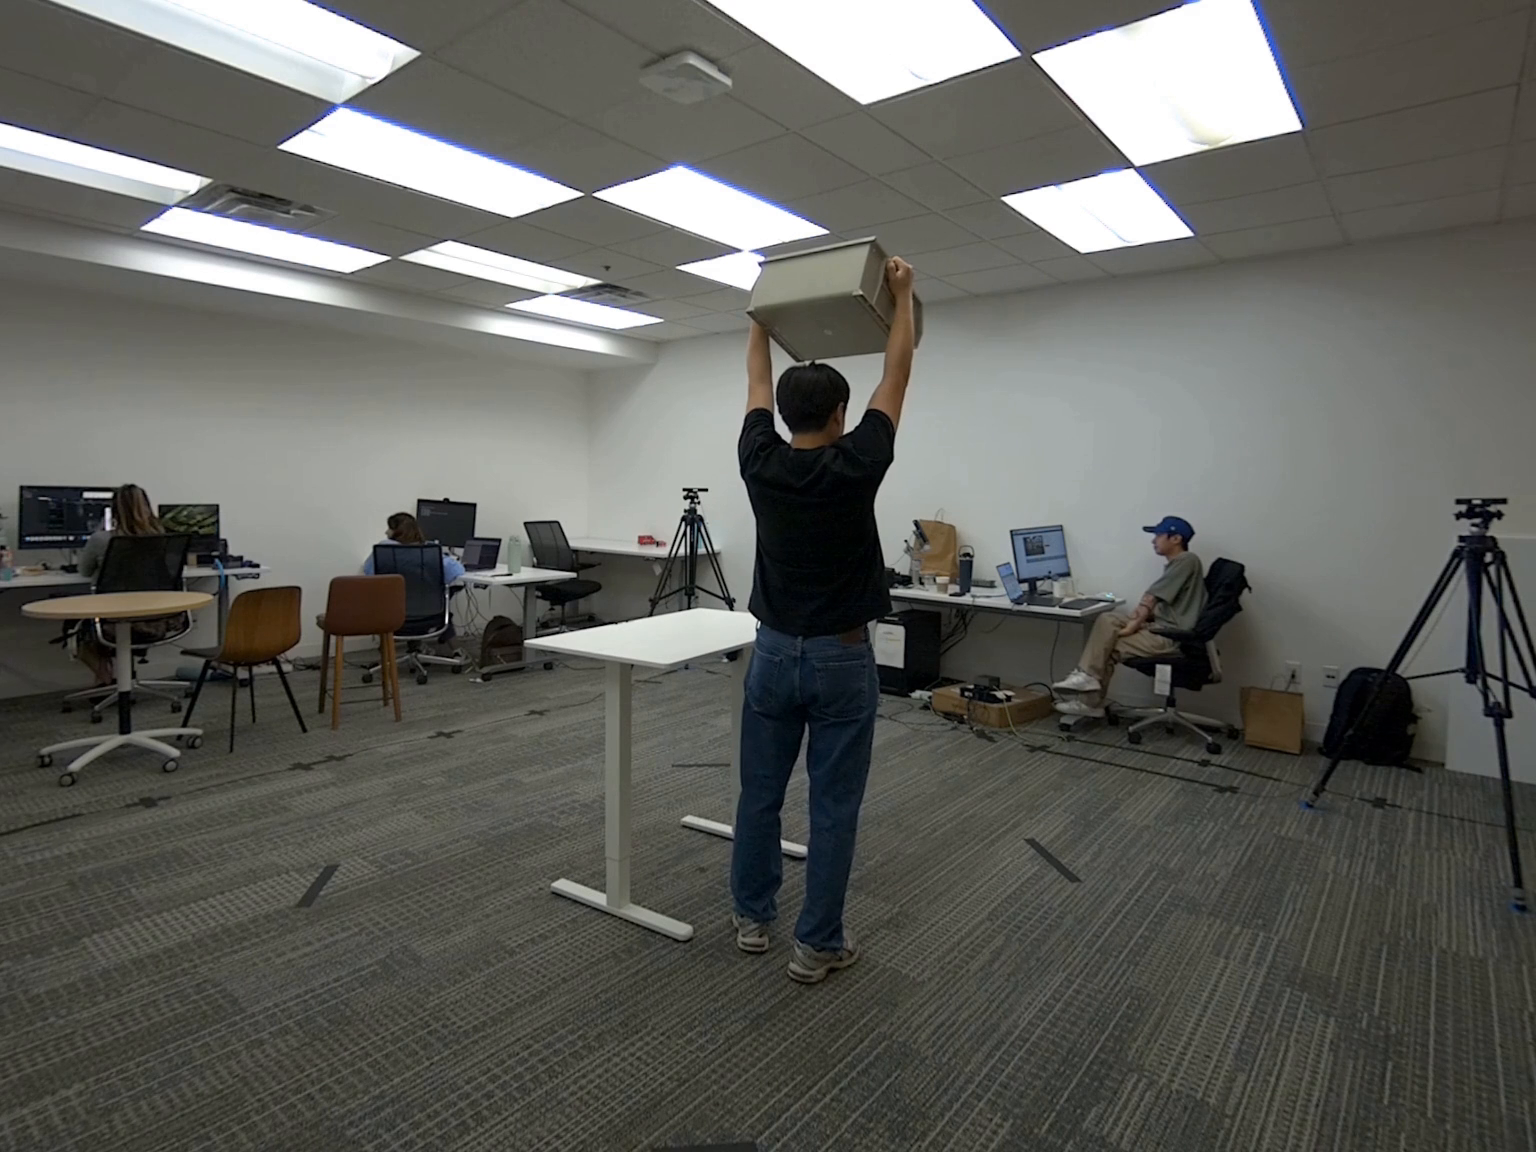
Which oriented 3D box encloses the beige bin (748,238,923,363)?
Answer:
[{"bbox_3d":[0.205,-0.824,2.636,0.436,0.190,0.362,5,-17,38],"label":"beige bin"}]
